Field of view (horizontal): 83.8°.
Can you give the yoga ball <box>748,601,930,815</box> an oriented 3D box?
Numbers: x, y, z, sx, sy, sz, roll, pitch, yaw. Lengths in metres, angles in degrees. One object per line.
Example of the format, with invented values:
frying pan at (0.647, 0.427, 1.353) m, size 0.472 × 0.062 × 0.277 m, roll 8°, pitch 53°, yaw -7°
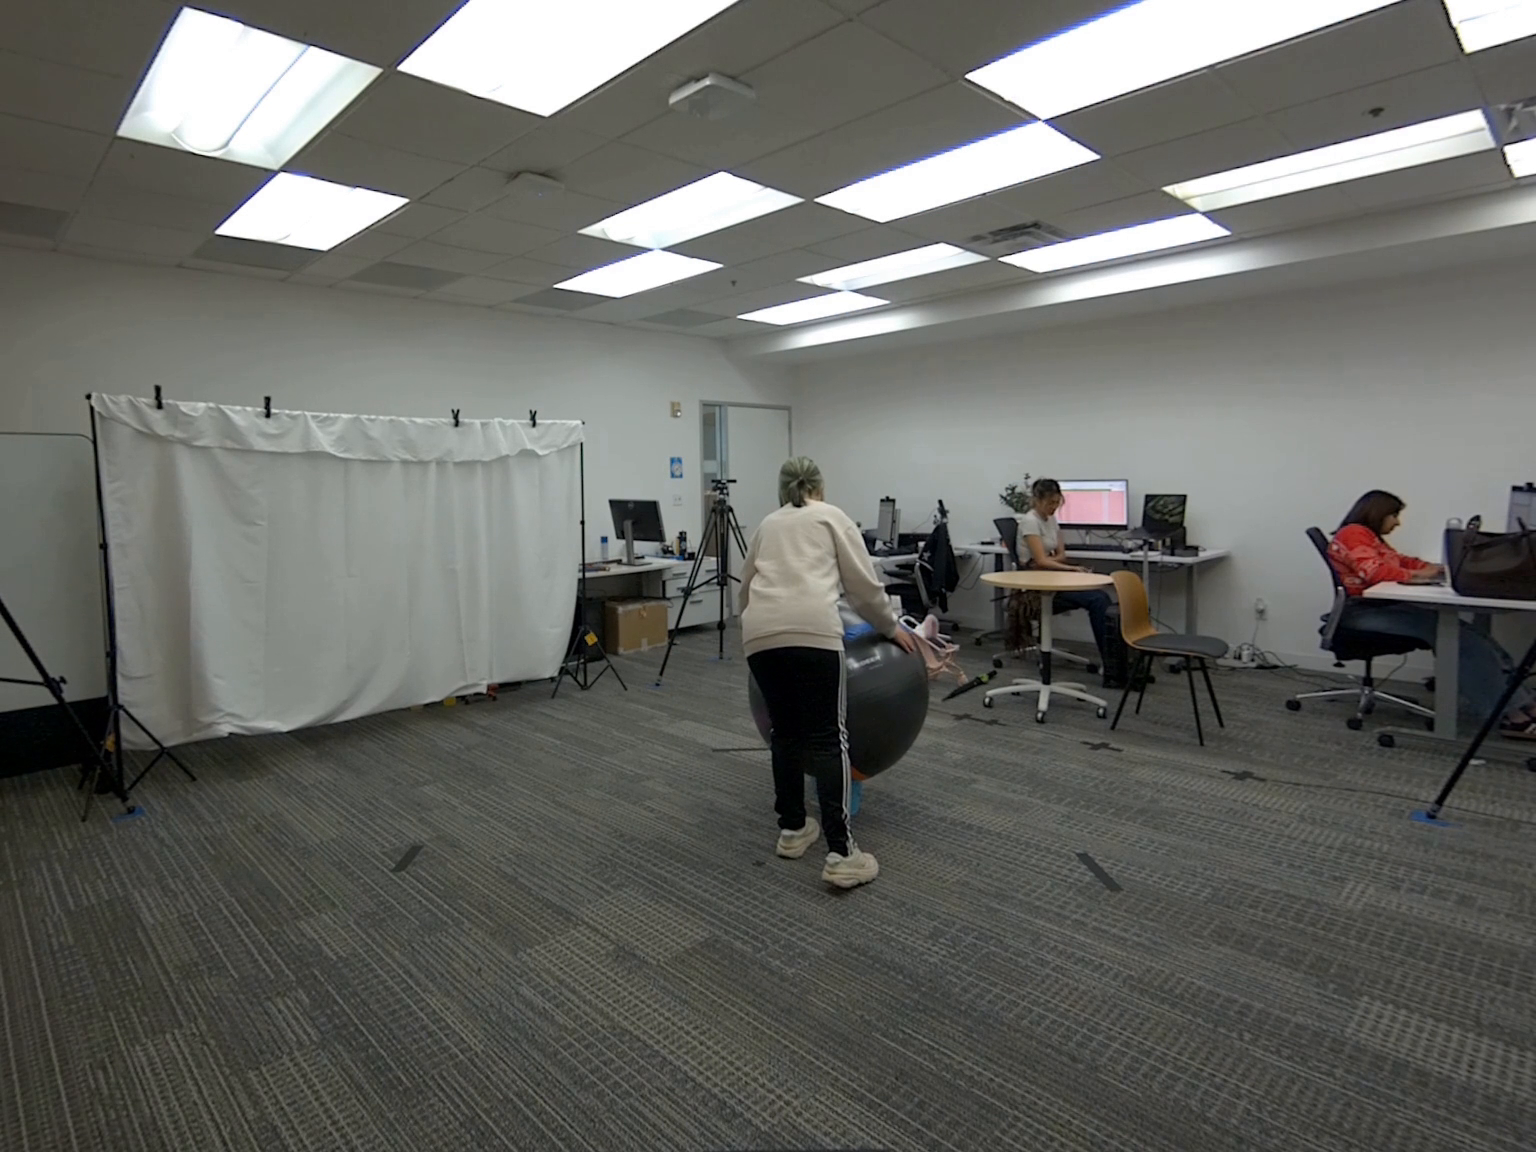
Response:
yoga ball at (0.295, 0.478, 3.603) m, size 0.757 × 0.755 × 0.762 m, roll -1°, pitch 5°, yaw -2°
